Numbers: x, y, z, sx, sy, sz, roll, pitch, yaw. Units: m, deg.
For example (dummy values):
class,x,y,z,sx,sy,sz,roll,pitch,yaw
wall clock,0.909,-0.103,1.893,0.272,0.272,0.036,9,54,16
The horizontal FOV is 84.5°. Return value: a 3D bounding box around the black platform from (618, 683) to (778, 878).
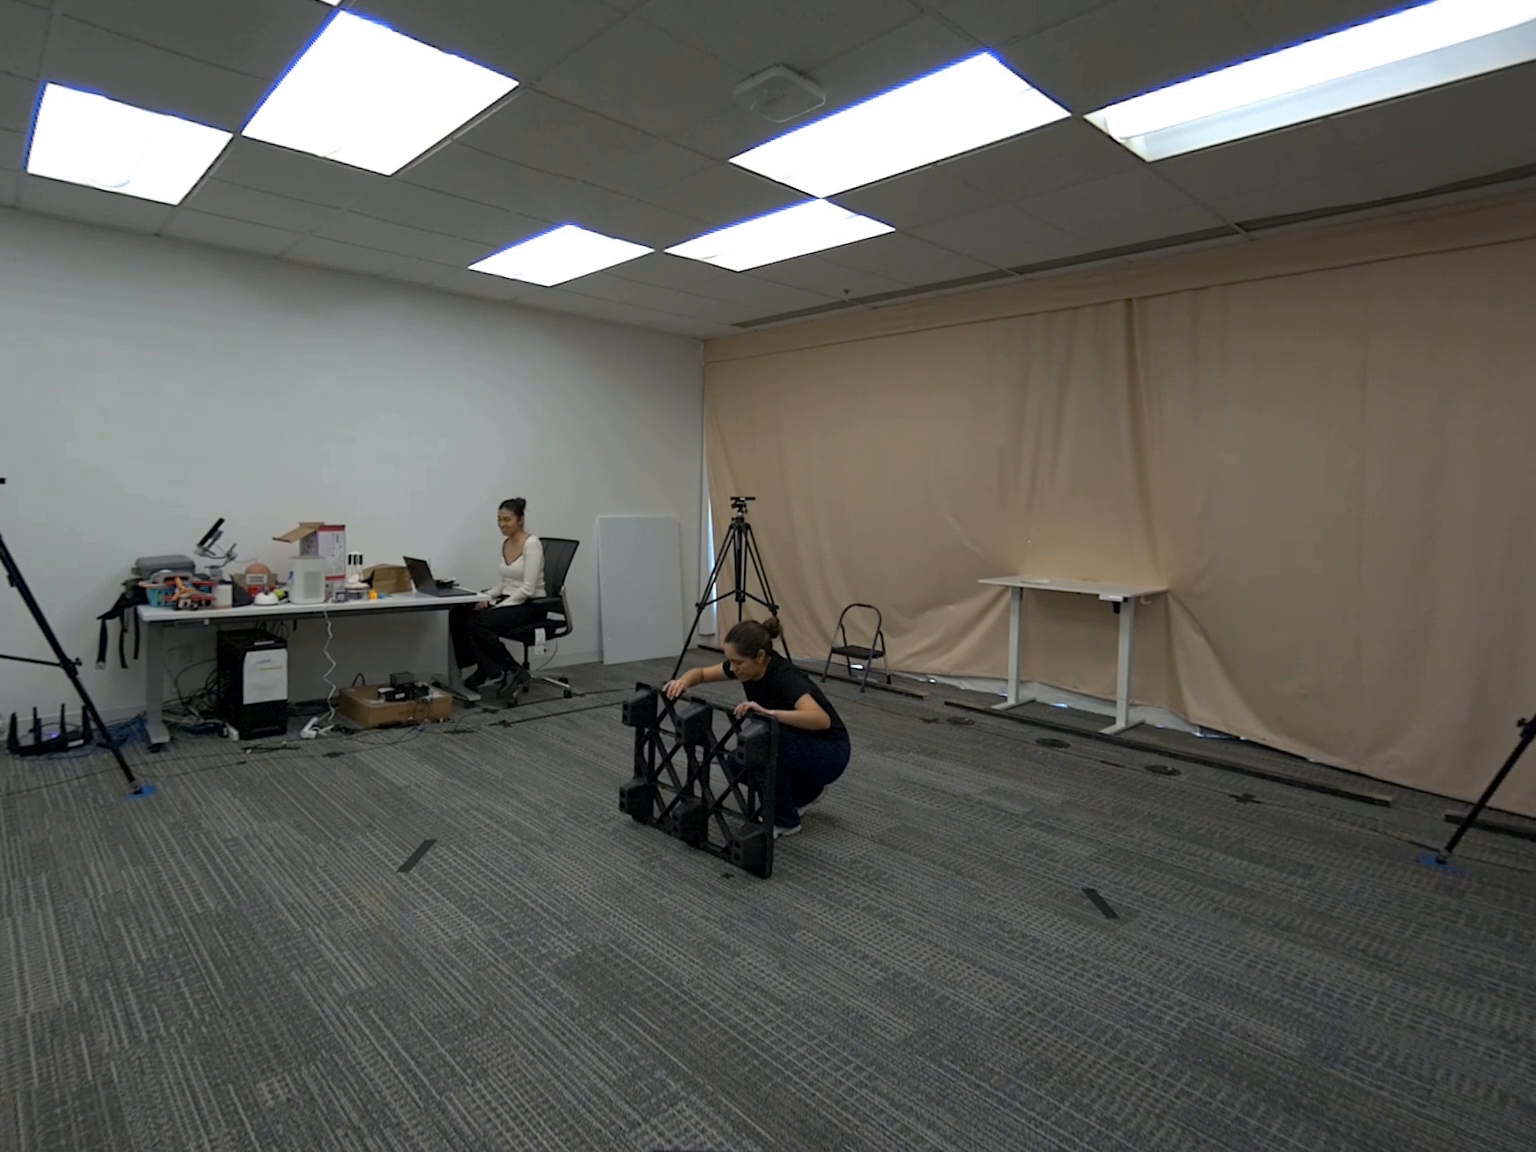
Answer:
class,x,y,z,sx,sy,sz,roll,pitch,yaw
black platform,-0.314,0.784,3.310,0.826,0.604,0.140,5,3,44
